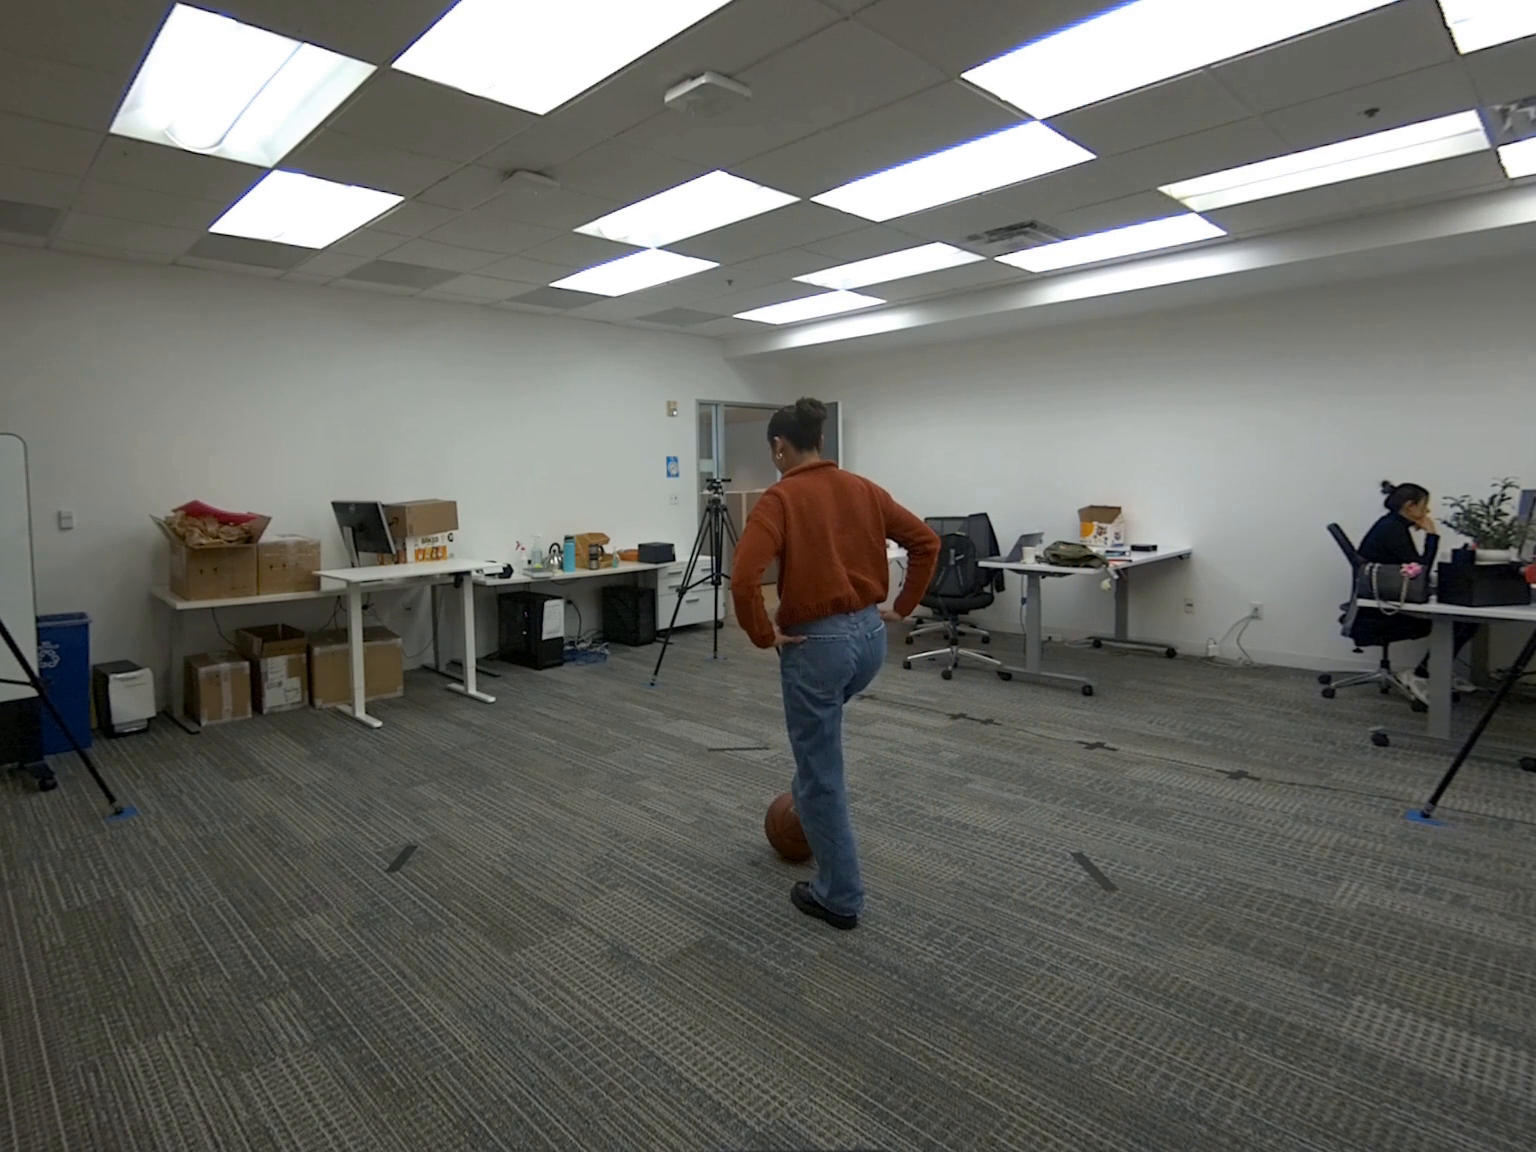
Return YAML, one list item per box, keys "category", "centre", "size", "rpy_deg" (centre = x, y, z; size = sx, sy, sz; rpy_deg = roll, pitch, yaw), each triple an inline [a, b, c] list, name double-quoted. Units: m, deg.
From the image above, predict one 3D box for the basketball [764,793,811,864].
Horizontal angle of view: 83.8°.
- category: "basketball"
  centre: [0.101, 0.915, 3.166]
  size: [0.236, 0.235, 0.237]
  rpy_deg: [-1, 5, -2]
